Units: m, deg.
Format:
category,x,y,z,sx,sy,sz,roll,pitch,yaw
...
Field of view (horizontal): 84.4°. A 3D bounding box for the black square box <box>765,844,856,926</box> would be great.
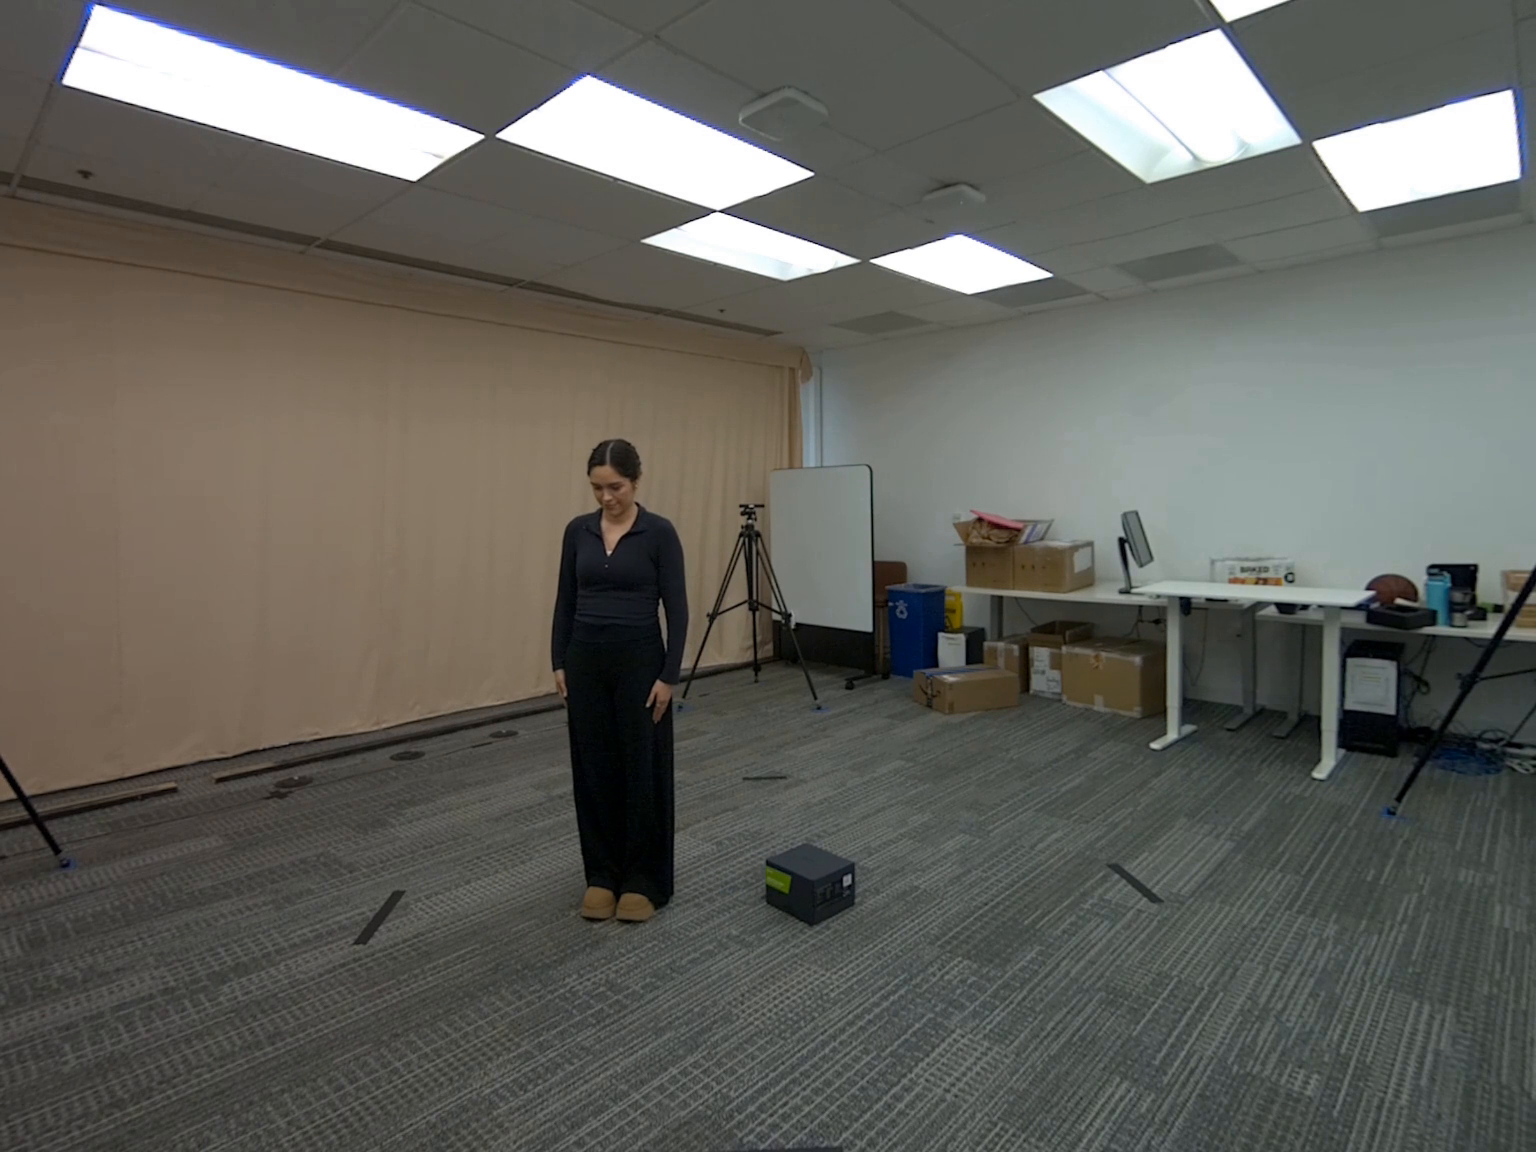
category,x,y,z,sx,sy,sz,roll,pitch,yaw
black square box,0.148,1.062,2.911,0.210,0.155,0.235,-5,7,-43
